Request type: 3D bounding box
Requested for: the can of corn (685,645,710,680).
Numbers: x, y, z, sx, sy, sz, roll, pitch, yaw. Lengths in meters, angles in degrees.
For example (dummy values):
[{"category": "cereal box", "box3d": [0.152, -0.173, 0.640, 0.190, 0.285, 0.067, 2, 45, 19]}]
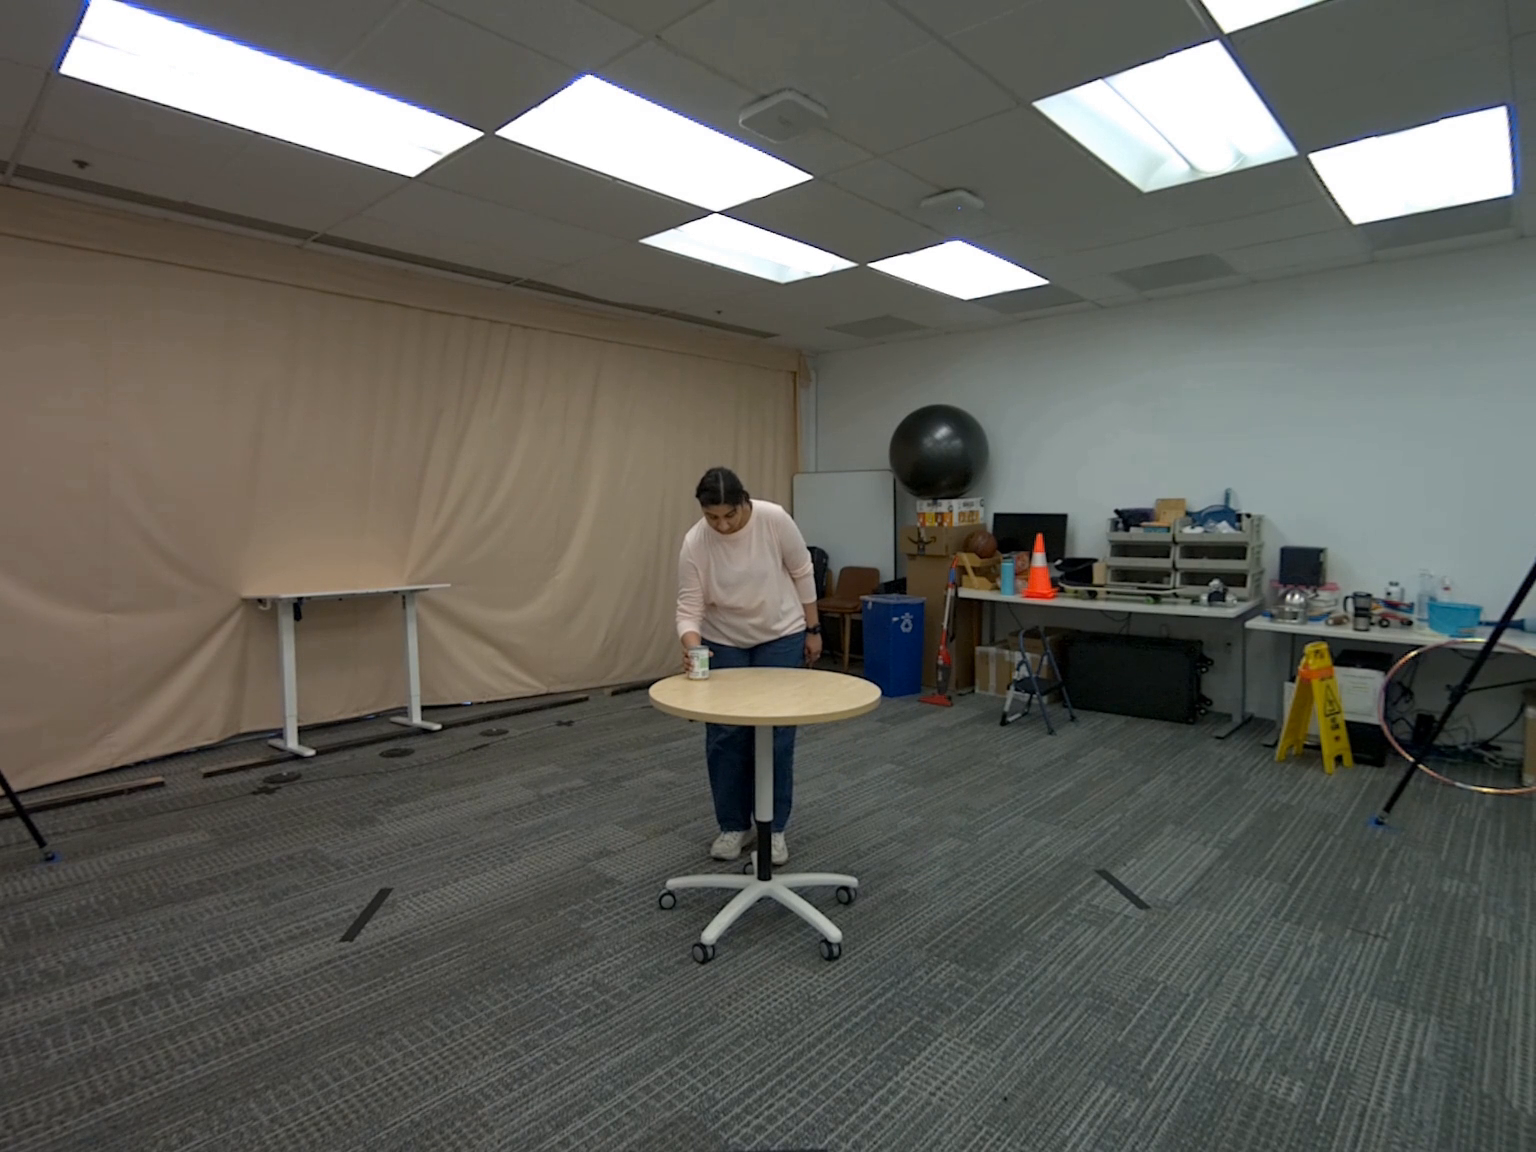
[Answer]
[{"category": "can of corn", "box3d": [-0.240, 0.311, 2.979, 0.074, 0.111, 0.074, -2, 1, -2]}]
